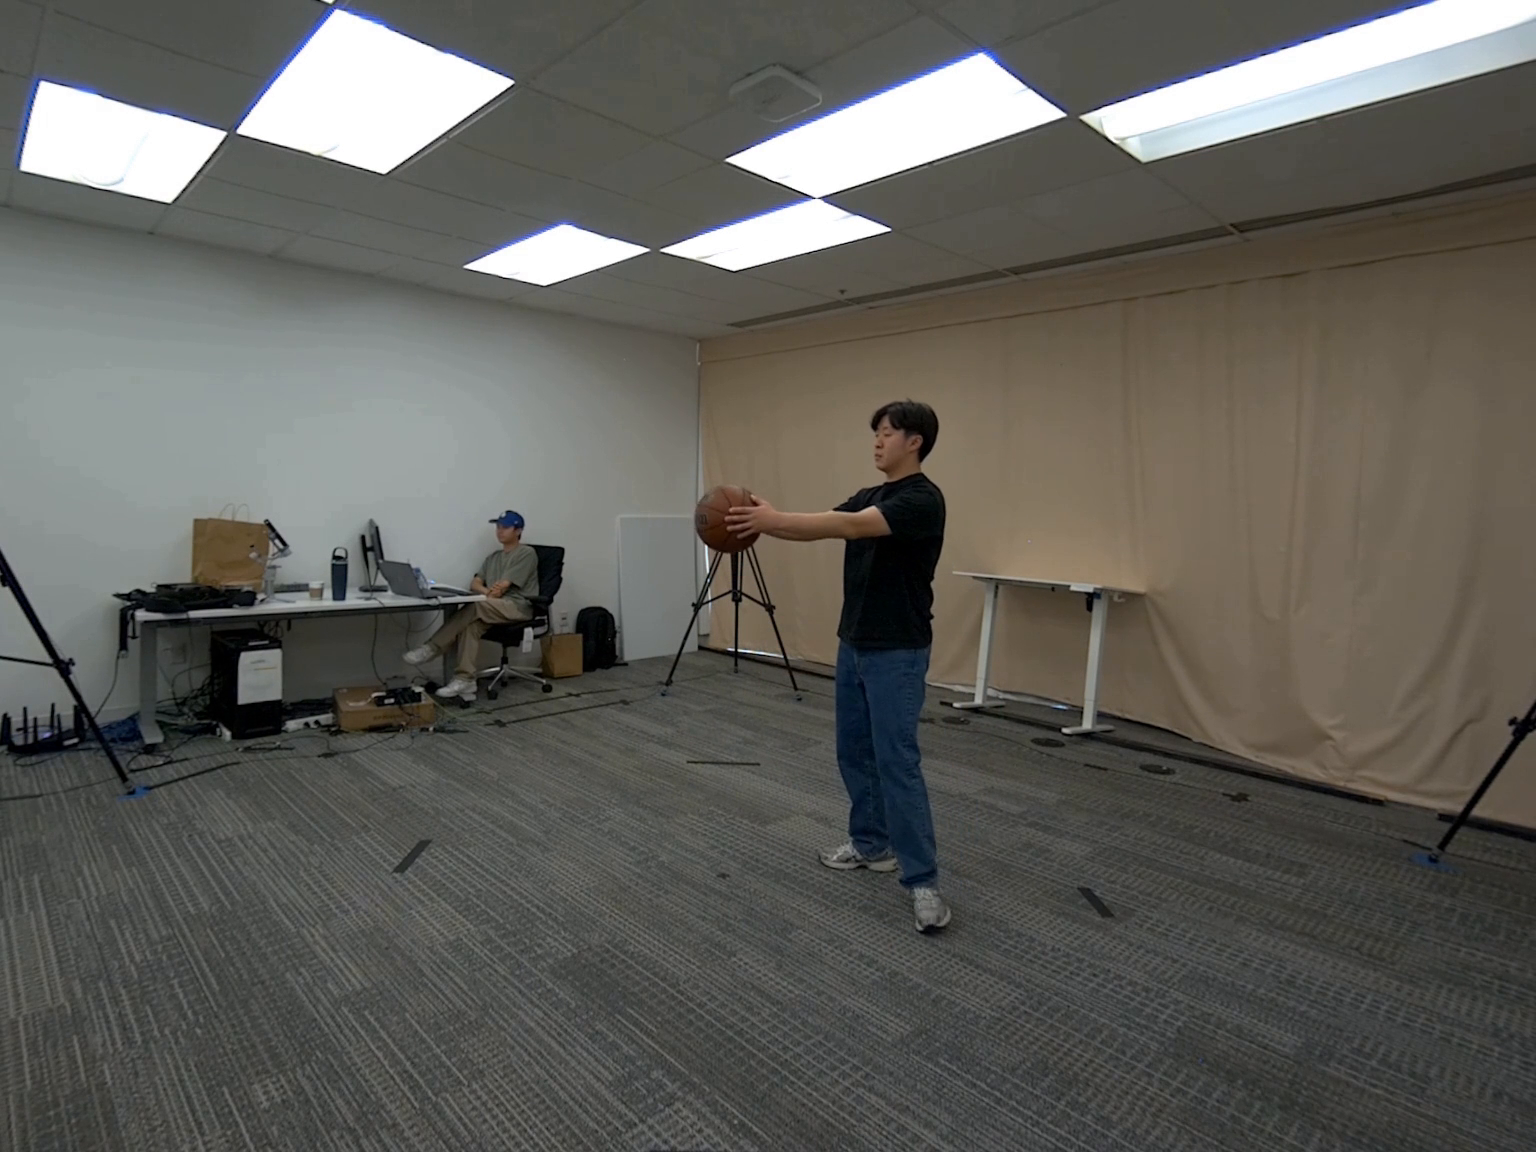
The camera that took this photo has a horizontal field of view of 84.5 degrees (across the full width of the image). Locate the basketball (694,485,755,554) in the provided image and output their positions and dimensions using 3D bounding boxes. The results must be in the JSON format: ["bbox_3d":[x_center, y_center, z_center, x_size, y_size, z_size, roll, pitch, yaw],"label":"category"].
[{"bbox_3d":[-0.130,-0.193,2.884,0.236,0.235,0.237,1,4,-1],"label":"basketball"}]
